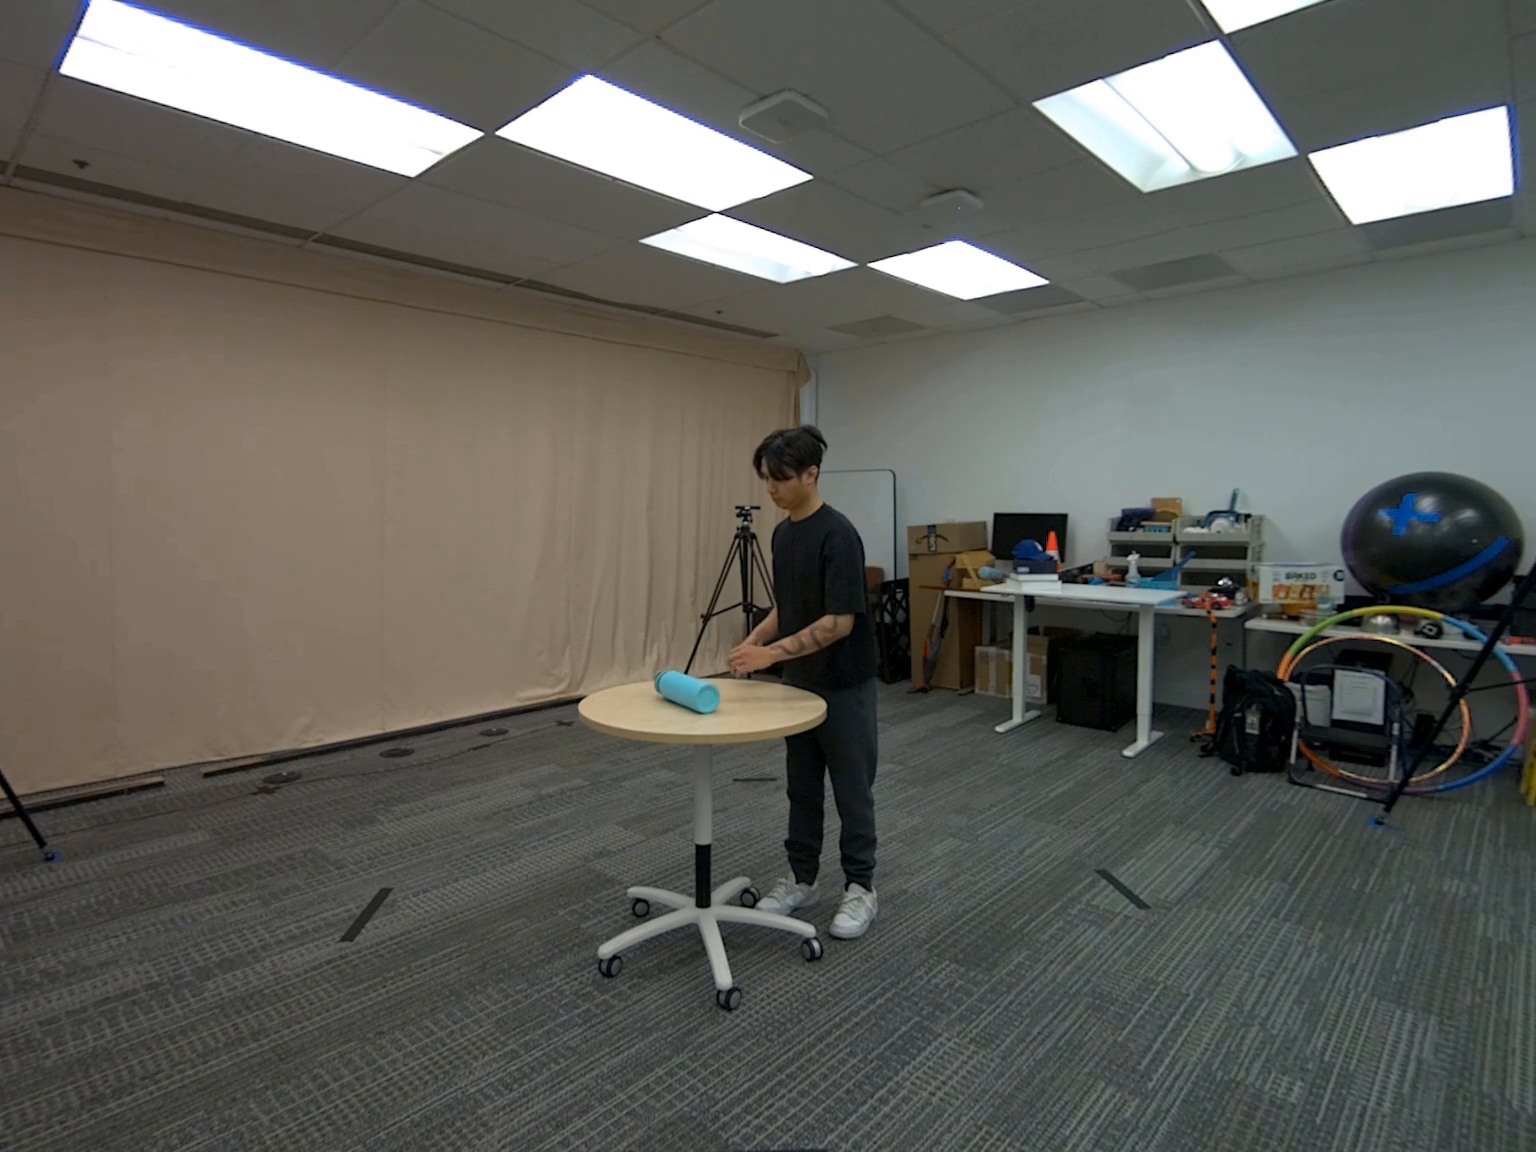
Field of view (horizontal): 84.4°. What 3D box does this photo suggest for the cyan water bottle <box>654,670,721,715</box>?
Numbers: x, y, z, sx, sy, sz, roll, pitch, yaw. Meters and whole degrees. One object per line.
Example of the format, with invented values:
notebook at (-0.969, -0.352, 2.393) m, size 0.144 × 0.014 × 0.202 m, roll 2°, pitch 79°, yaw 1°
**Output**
cyan water bottle at (-0.251, 0.348, 2.584) m, size 0.090 × 0.092 × 0.292 m, roll -3°, pitch 6°, yaw -35°
